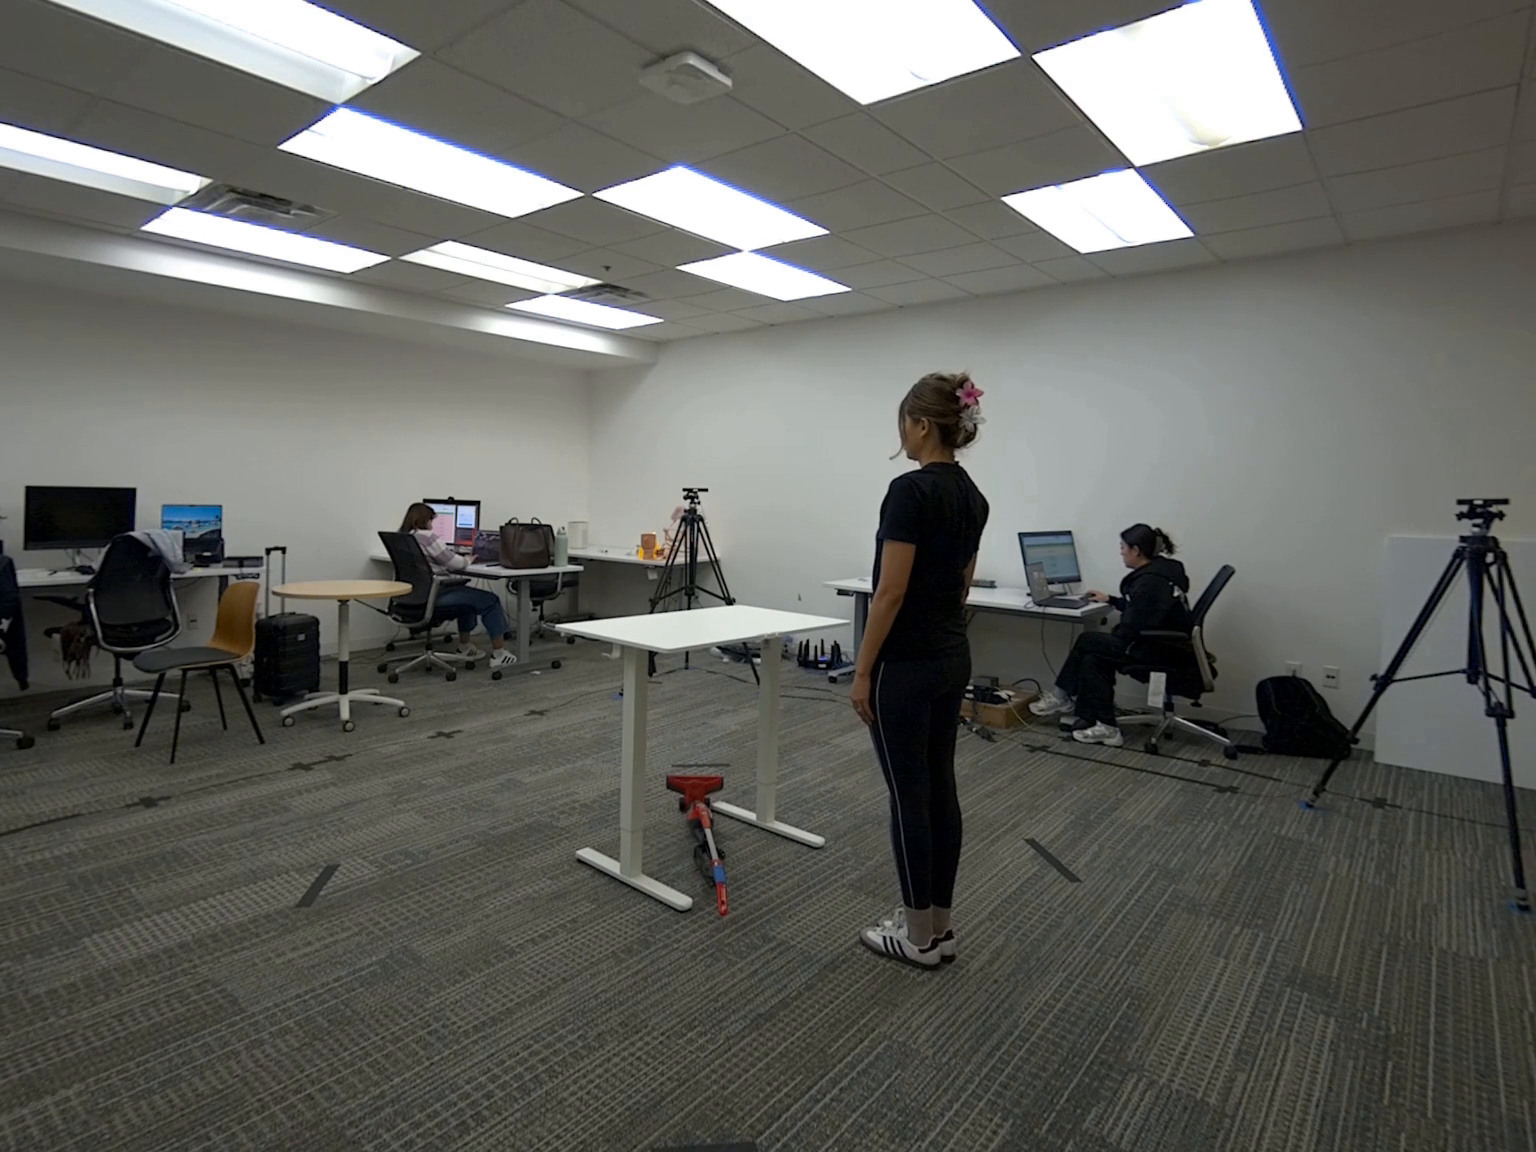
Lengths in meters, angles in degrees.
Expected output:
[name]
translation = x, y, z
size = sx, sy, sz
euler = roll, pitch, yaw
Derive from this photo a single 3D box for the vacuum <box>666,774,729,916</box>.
[vacuum]
translation = -0.235, 0.995, 3.194
size = 0.250, 0.143, 1.065
euler = 2, 7, -11
